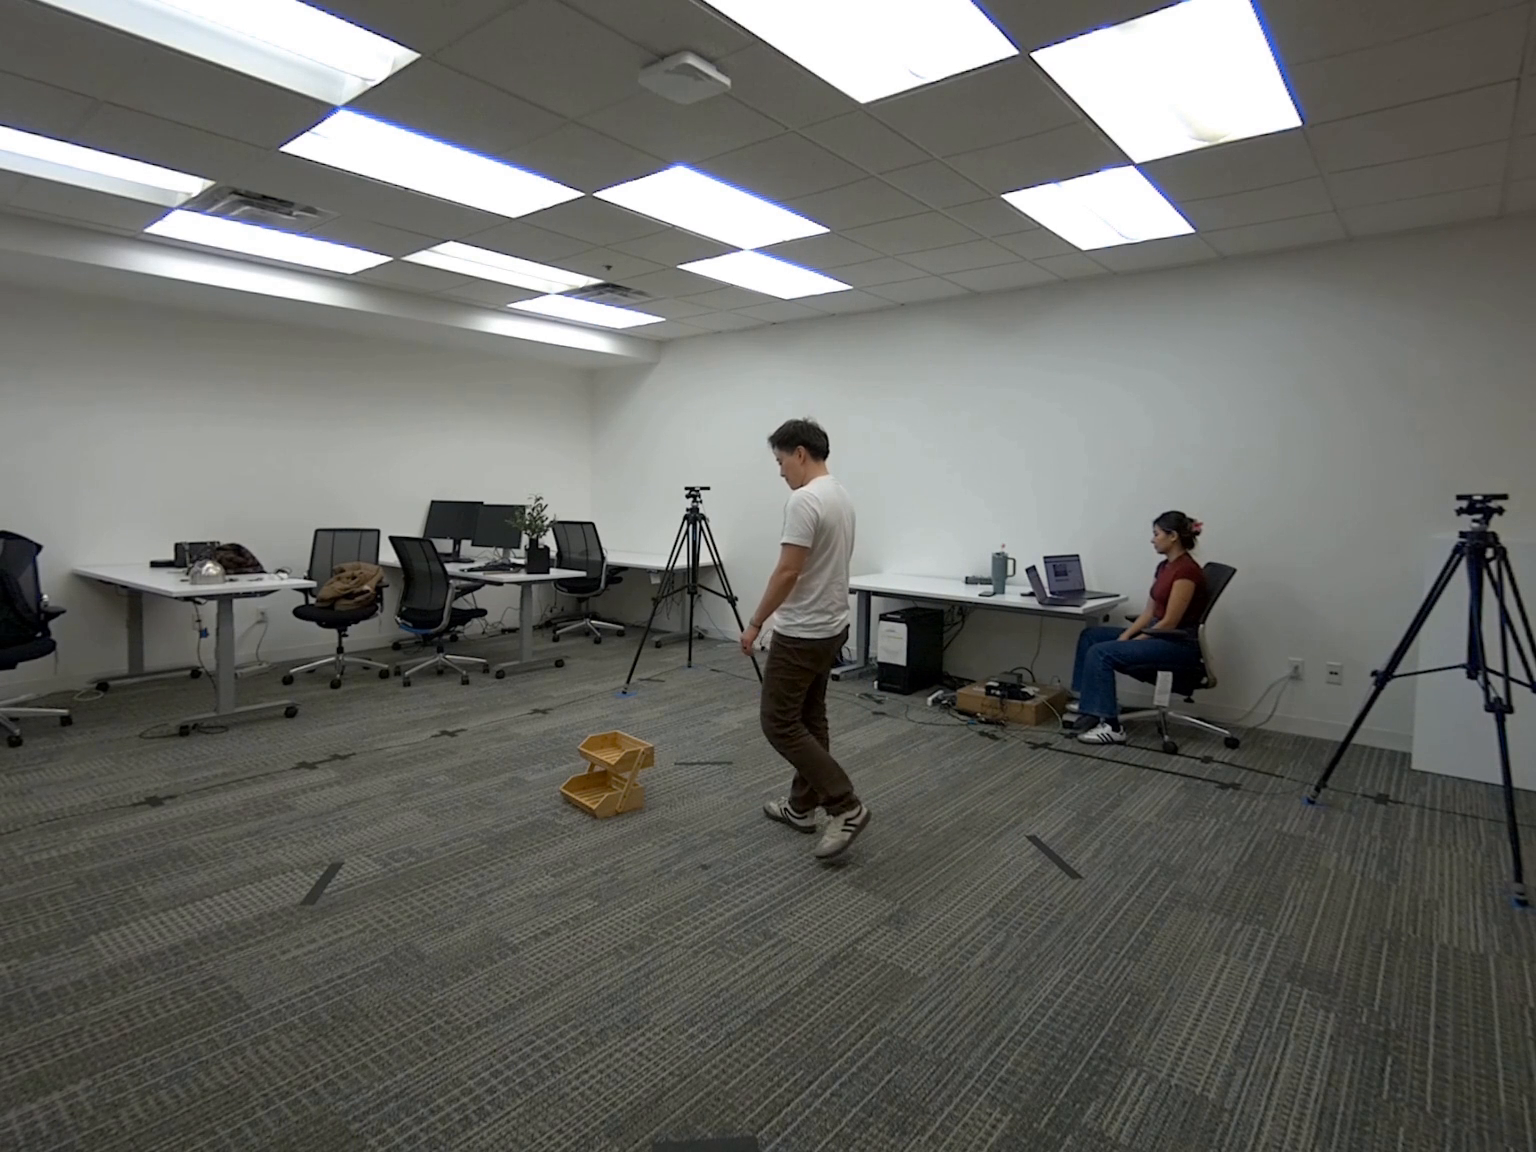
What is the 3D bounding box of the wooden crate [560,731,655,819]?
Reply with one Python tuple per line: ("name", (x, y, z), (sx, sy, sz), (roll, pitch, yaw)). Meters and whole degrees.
("wooden crate", (-0.730, 0.862, 3.754), (0.293, 0.272, 0.336), (-3, 6, -42))
